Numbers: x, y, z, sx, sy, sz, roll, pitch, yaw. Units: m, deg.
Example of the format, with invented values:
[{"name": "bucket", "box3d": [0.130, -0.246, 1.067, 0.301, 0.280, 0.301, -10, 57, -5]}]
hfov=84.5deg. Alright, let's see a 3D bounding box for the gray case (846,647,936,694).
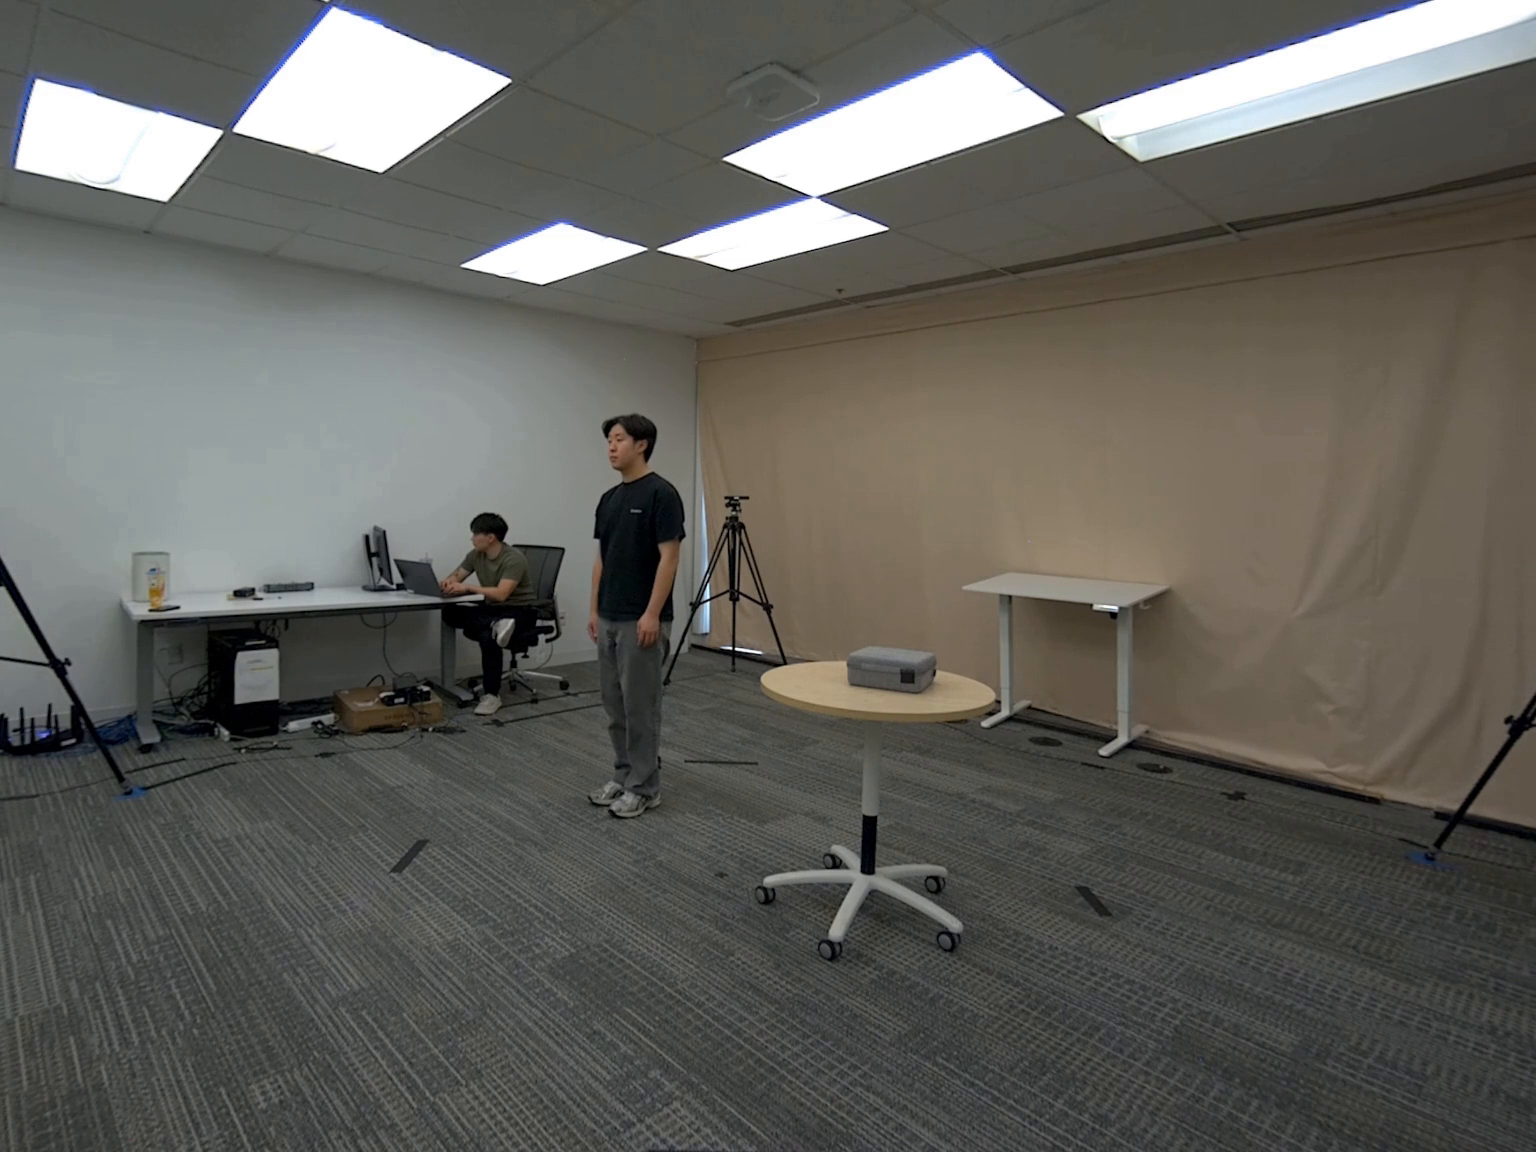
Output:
[{"name": "gray case", "box3d": [0.411, 0.311, 2.830, 0.268, 0.103, 0.282, 5, 5, 24]}]
